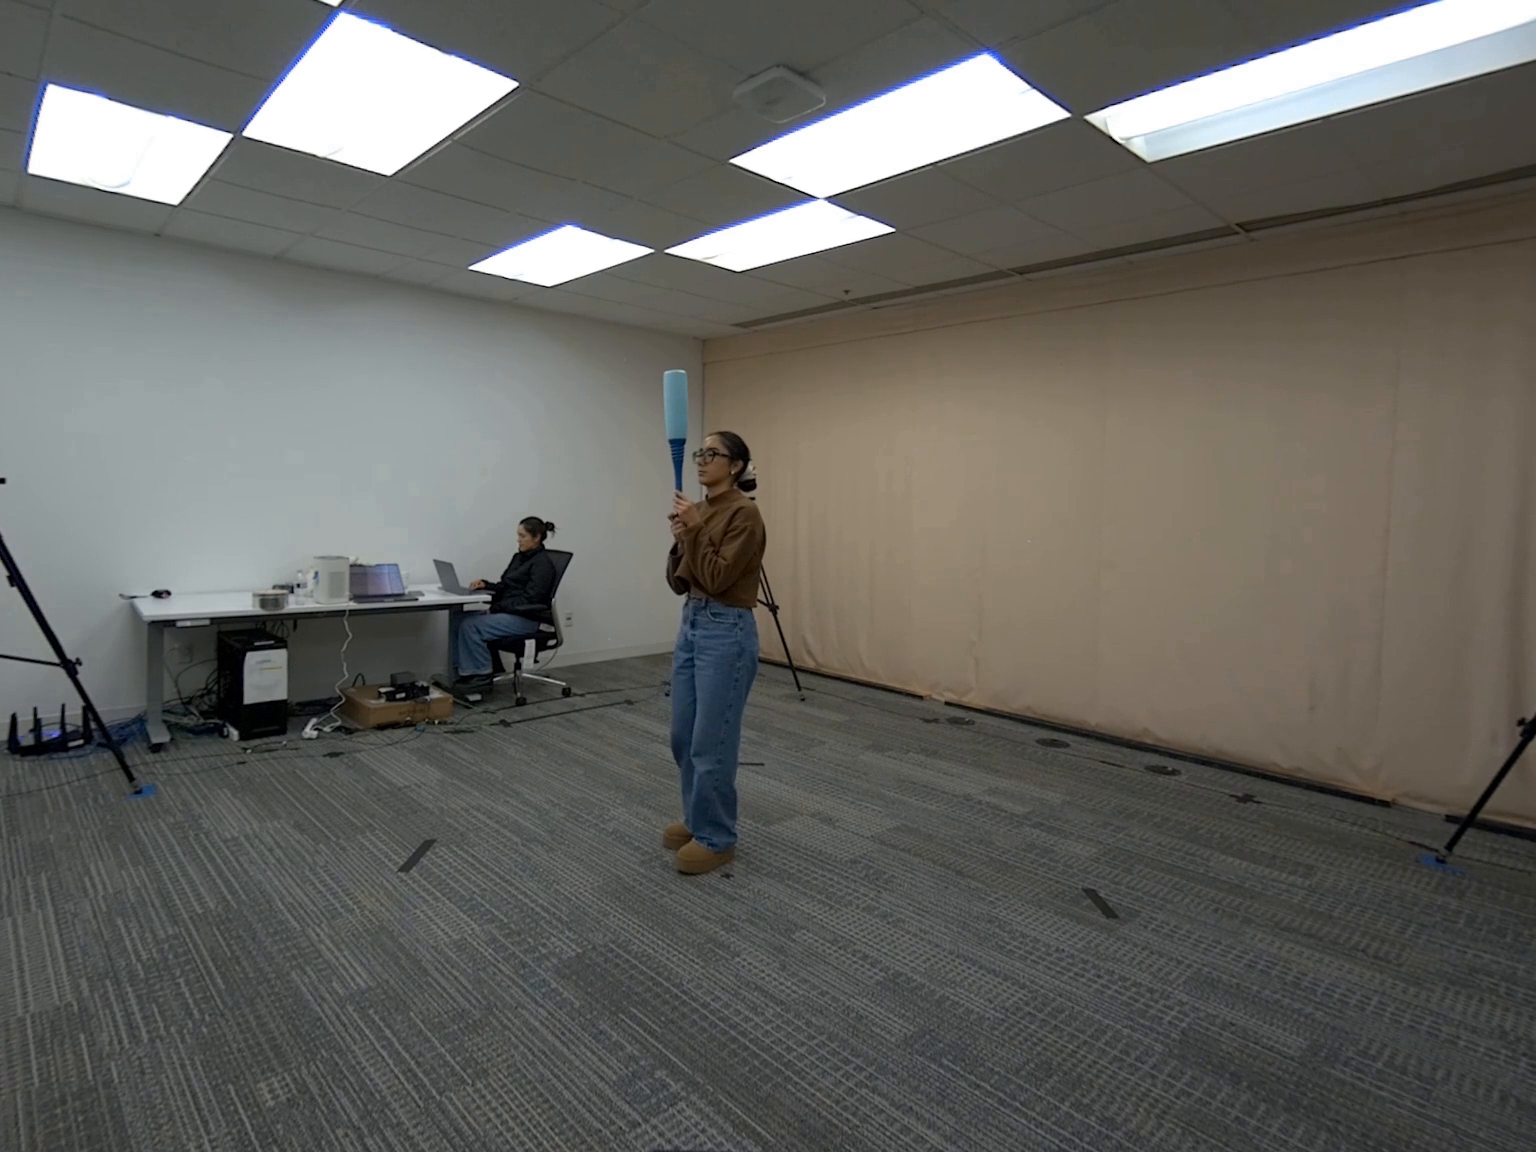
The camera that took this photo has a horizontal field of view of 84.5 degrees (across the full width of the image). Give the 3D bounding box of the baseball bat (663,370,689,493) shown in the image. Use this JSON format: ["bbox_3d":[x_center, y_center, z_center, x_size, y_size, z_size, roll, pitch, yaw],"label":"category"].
[{"bbox_3d":[-0.344,-0.487,3.107,0.089,0.540,0.089,0,7,-1],"label":"baseball bat"}]
